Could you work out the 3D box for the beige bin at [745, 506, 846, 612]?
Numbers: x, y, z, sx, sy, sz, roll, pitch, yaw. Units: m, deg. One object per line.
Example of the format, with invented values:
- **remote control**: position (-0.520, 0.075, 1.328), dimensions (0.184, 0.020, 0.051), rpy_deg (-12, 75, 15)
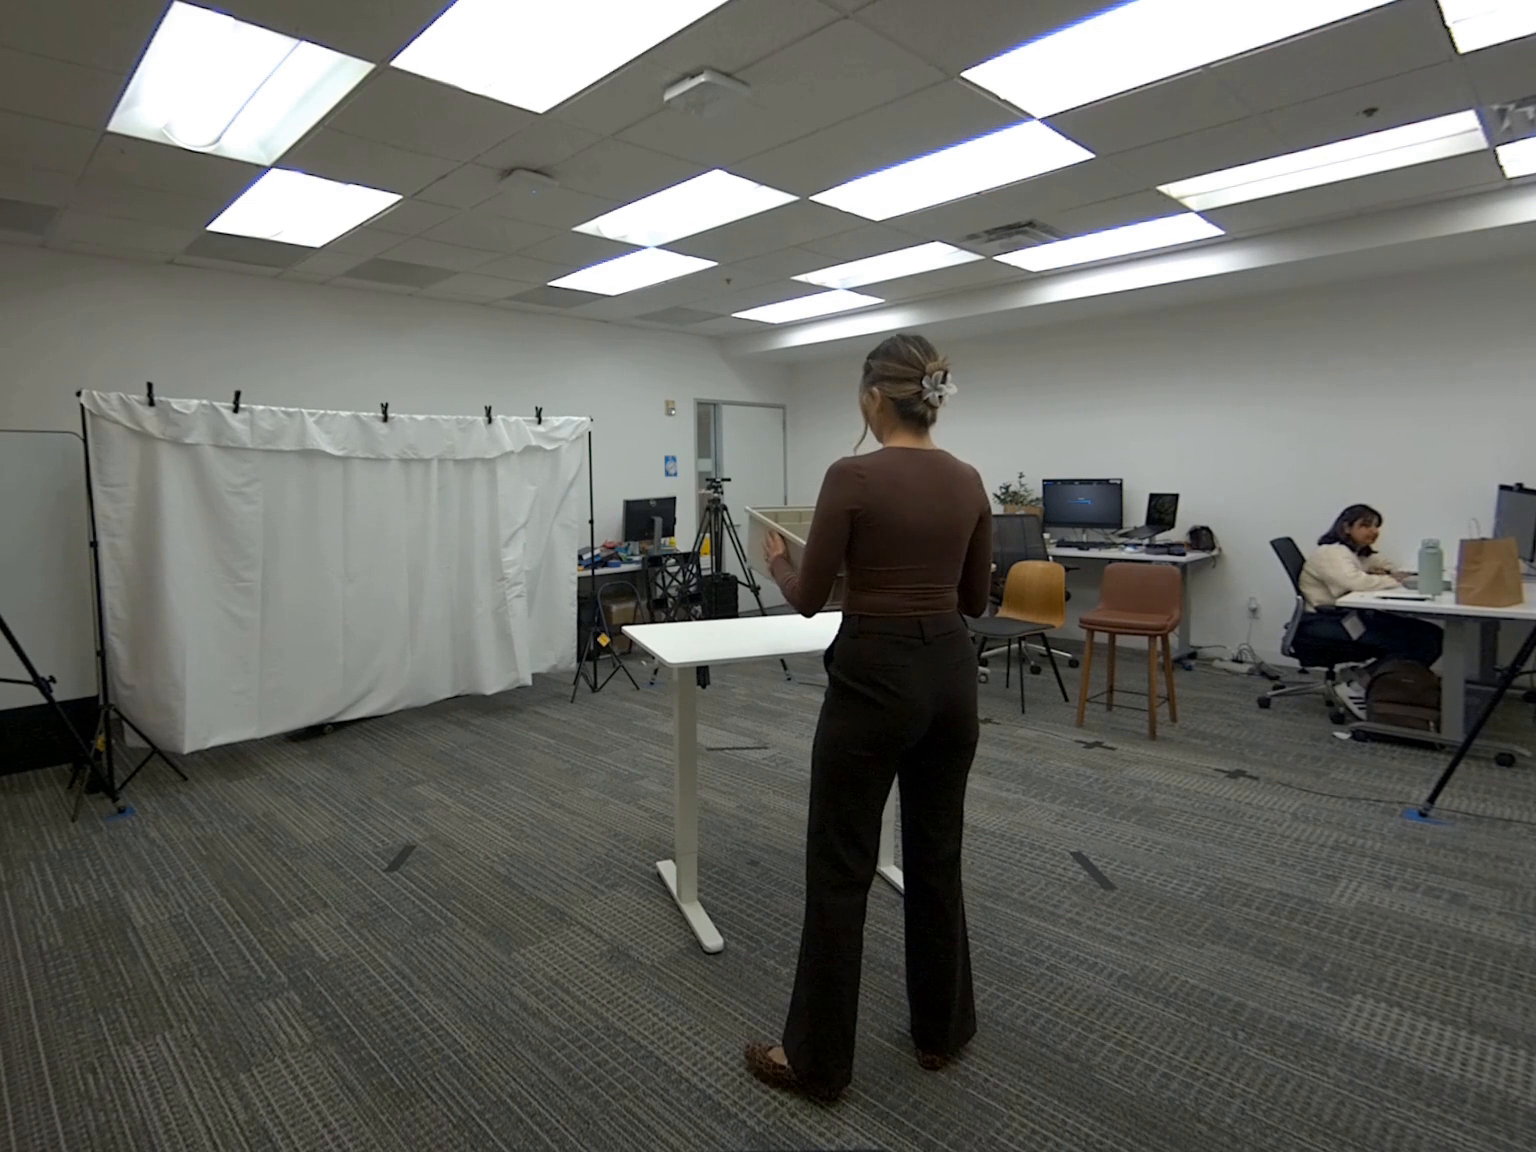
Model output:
- **beige bin**: position (0.184, -0.060, 2.360), dimensions (0.370, 0.186, 0.435), rpy_deg (-3, 17, -21)
